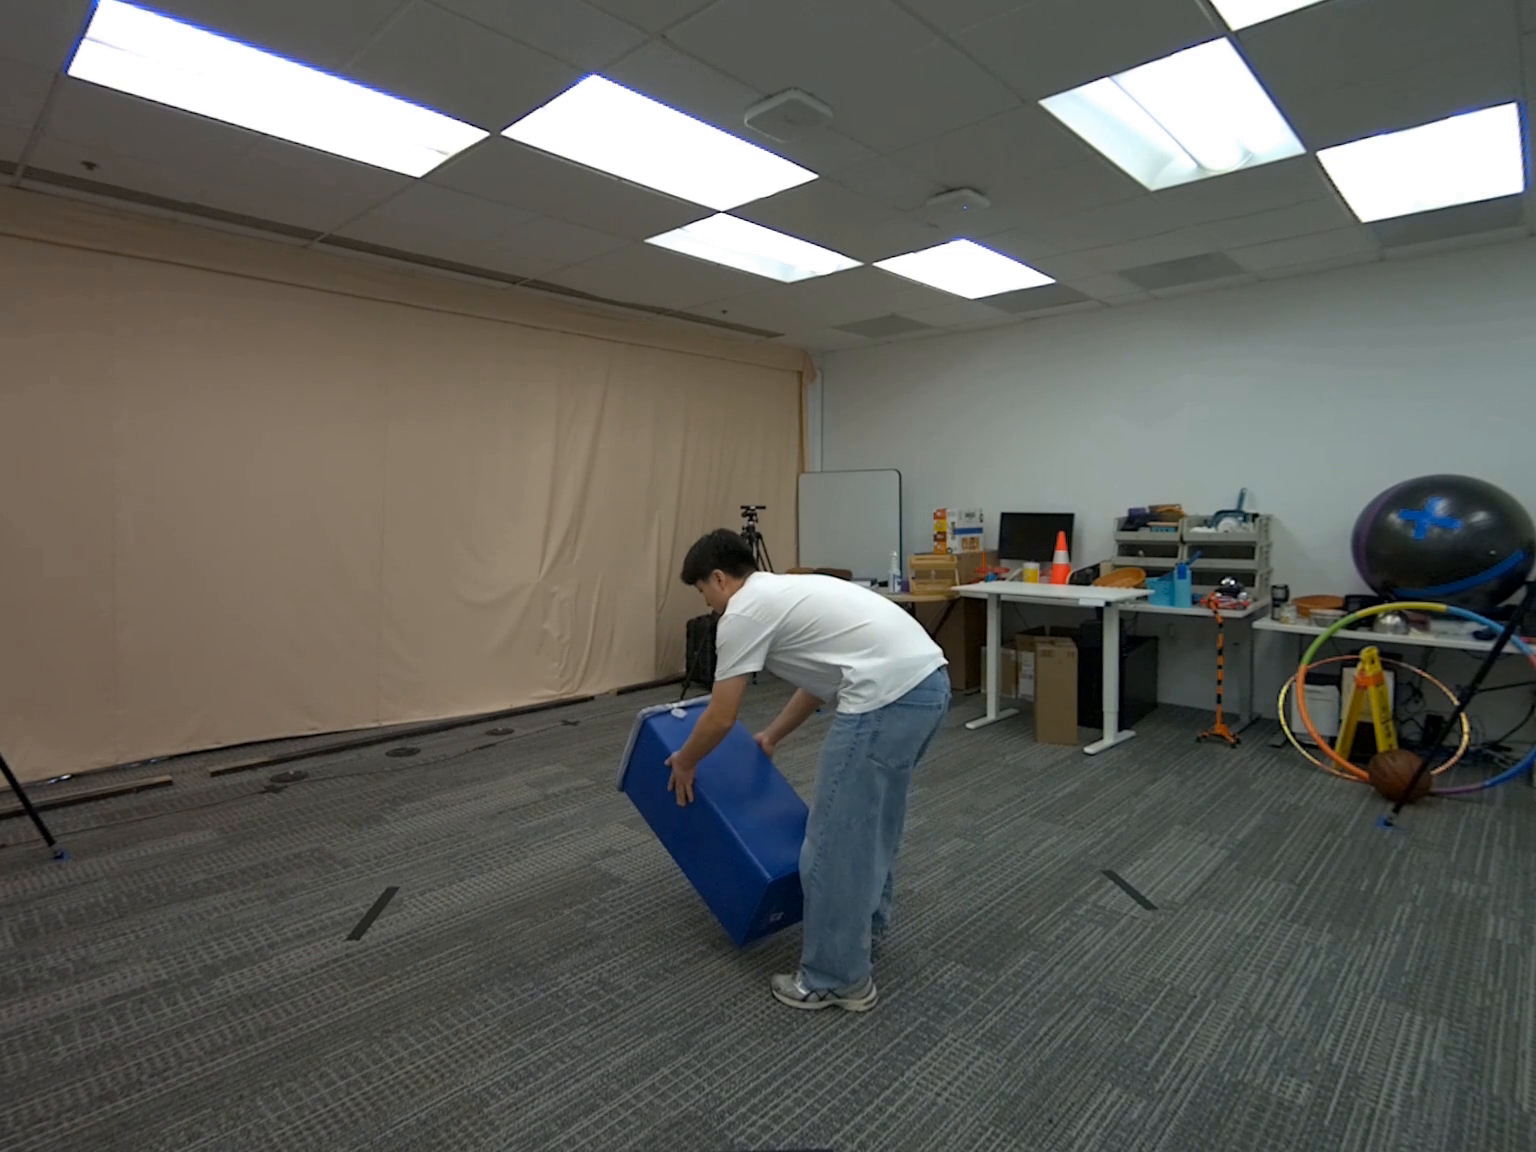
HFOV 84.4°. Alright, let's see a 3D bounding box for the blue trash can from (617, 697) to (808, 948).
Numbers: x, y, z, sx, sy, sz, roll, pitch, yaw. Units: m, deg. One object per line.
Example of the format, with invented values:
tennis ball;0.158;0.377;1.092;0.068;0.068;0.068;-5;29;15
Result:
blue trash can;-0.143;0.777;2.746;0.367;0.372;0.739;-4;36;-39
